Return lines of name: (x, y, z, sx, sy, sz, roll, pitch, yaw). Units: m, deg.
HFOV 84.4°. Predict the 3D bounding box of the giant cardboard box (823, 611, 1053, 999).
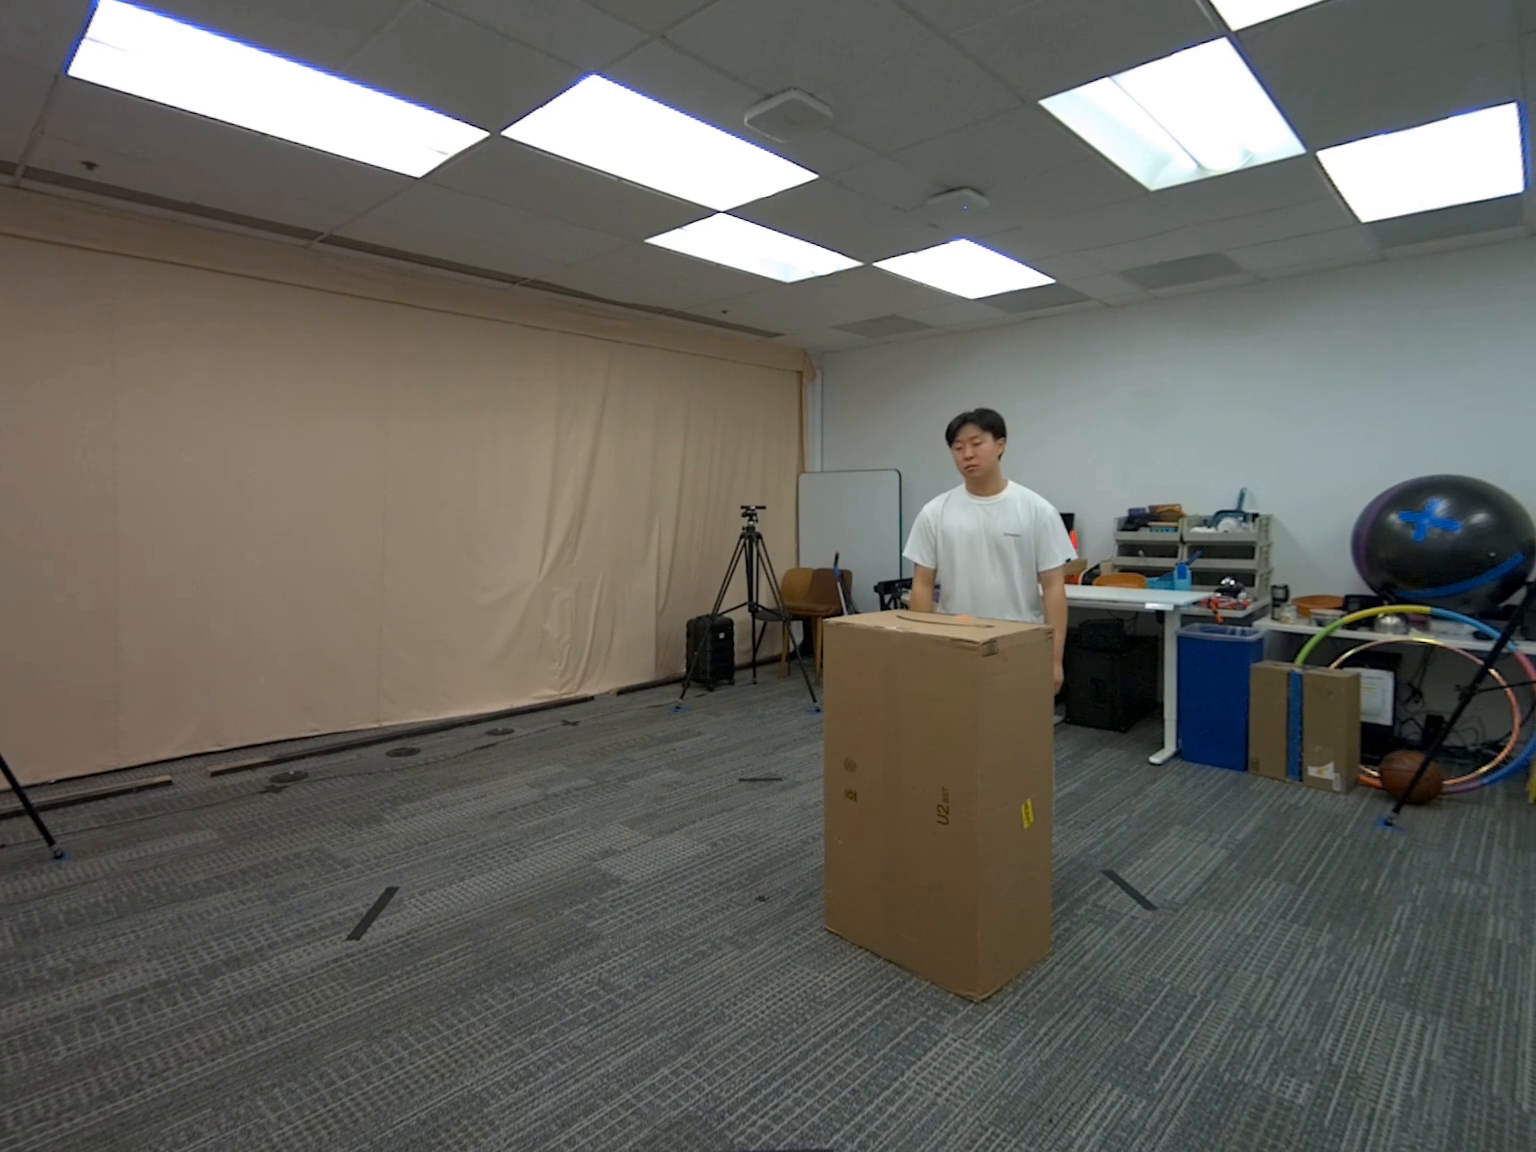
giant cardboard box: (0.536, 0.658, 2.674, 0.413, 1.024, 0.597, -3, 4, -43)
